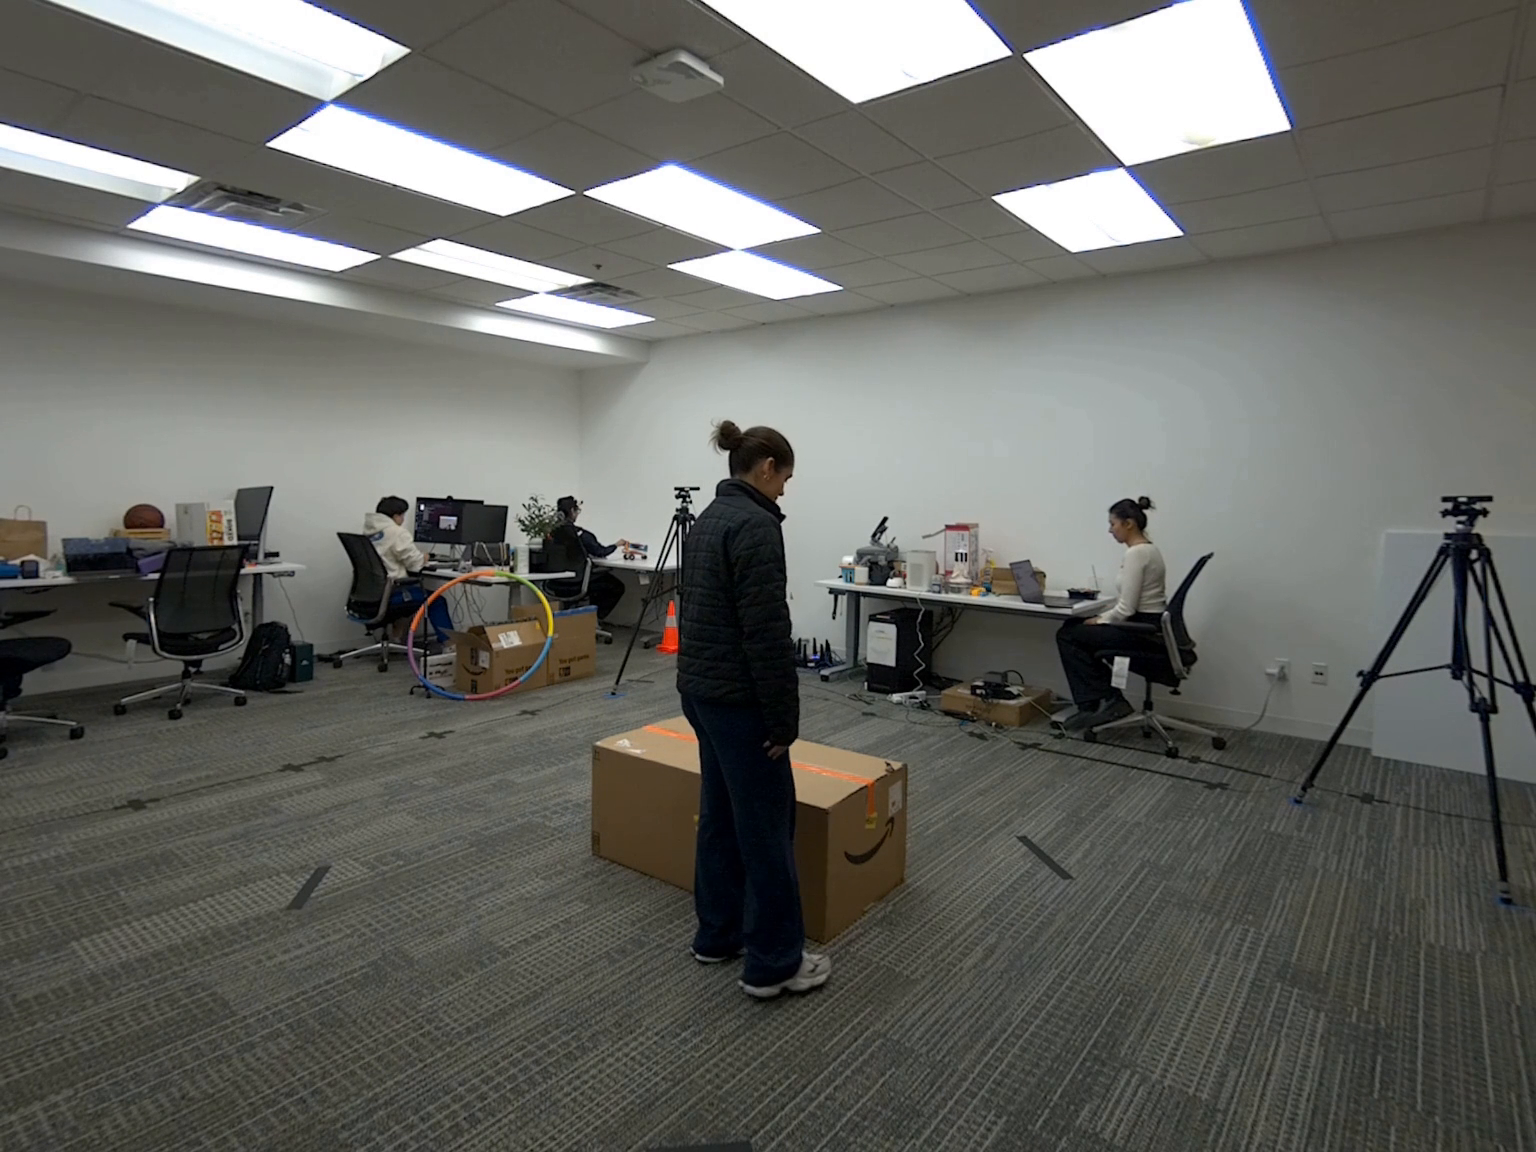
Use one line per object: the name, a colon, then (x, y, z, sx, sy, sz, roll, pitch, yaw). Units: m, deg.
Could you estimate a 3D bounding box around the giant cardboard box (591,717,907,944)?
giant cardboard box: (-0.069, 0.853, 3.134, 1.059, 0.424, 0.561, 5, 6, 36)
